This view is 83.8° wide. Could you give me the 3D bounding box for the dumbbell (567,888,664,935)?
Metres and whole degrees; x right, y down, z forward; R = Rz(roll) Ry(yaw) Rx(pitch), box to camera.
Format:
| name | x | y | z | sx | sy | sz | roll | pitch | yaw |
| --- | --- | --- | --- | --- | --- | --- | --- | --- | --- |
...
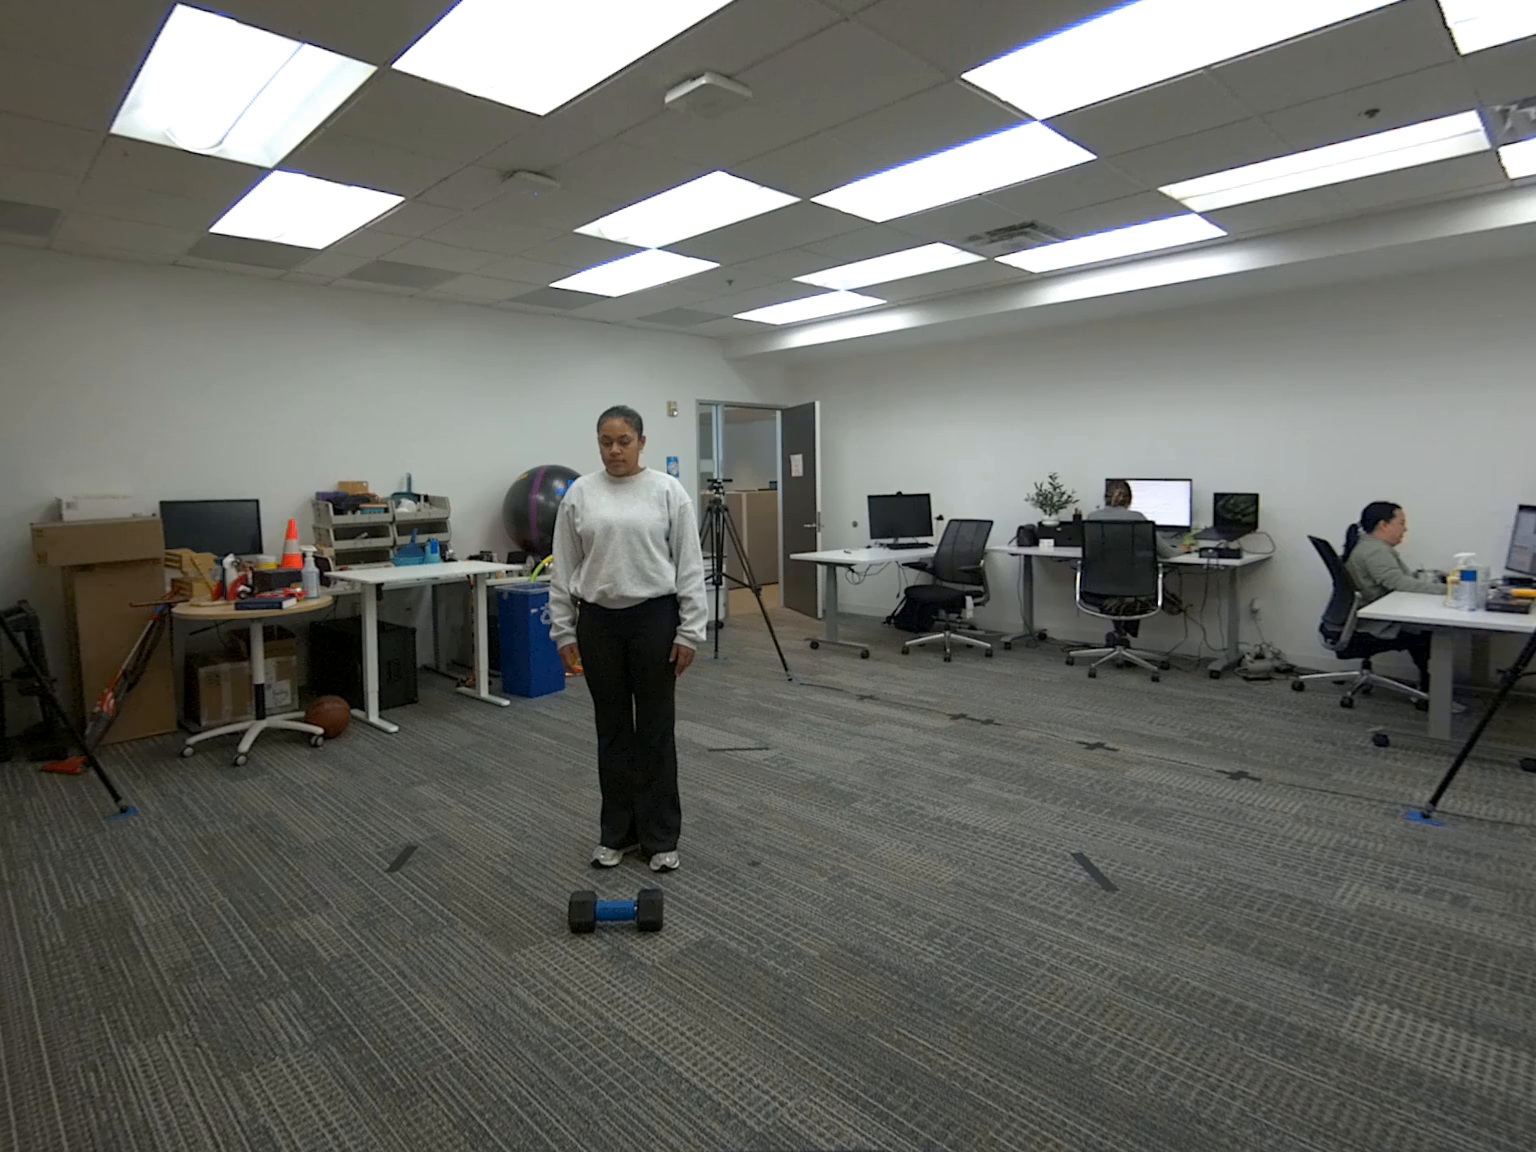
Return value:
| name | x | y | z | sx | sy | sz | roll | pitch | yaw |
| --- | --- | --- | --- | --- | --- | --- | --- | --- | --- |
| dumbbell | -0.475 | 1.055 | 2.679 | 0.293 | 0.126 | 0.106 | -1 | -25 | -1 |
